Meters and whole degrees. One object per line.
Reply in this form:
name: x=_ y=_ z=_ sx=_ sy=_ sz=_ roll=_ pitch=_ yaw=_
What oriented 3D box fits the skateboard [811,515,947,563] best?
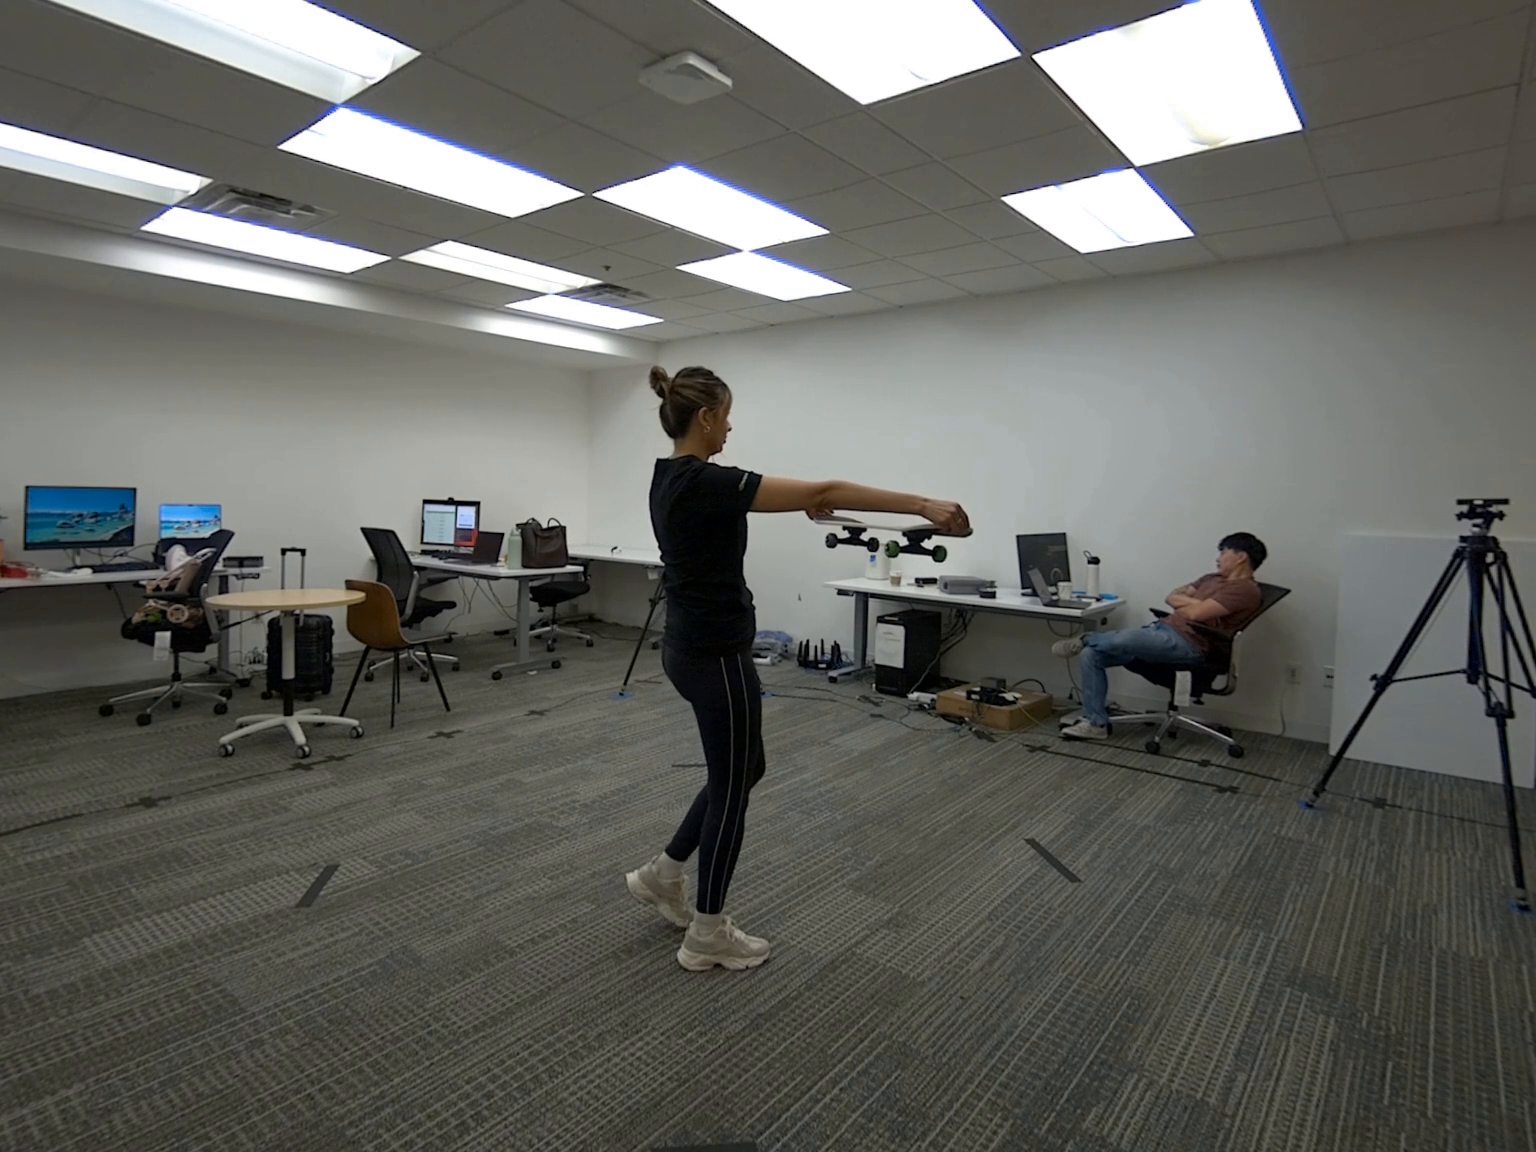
skateboard: x=0.346 y=-0.118 z=2.601 sx=0.189 sy=0.110 sz=0.804 roll=5 pitch=4 yaw=-21
